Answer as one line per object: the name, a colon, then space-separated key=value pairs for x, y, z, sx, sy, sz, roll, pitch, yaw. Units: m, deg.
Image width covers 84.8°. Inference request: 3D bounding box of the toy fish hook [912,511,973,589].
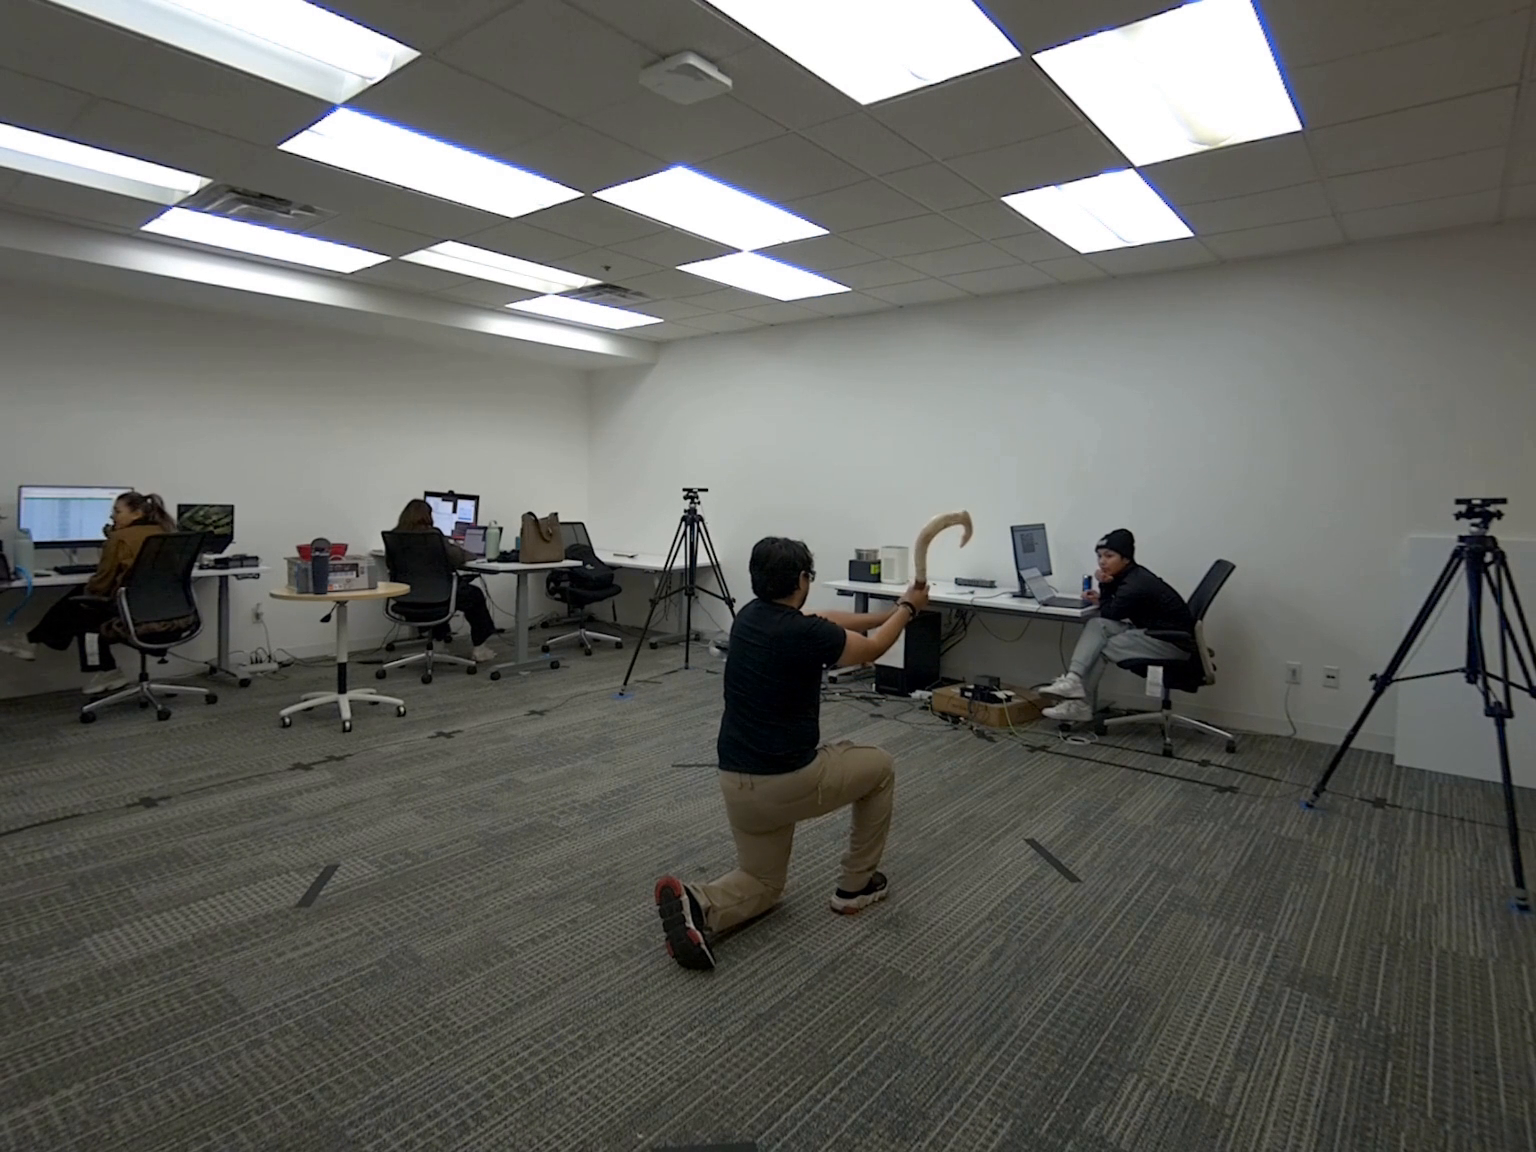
toy fish hook: x=0.590 y=-0.025 z=3.008 sx=0.221 sy=0.494 sz=0.050 roll=-7 pitch=46 yaw=-16
